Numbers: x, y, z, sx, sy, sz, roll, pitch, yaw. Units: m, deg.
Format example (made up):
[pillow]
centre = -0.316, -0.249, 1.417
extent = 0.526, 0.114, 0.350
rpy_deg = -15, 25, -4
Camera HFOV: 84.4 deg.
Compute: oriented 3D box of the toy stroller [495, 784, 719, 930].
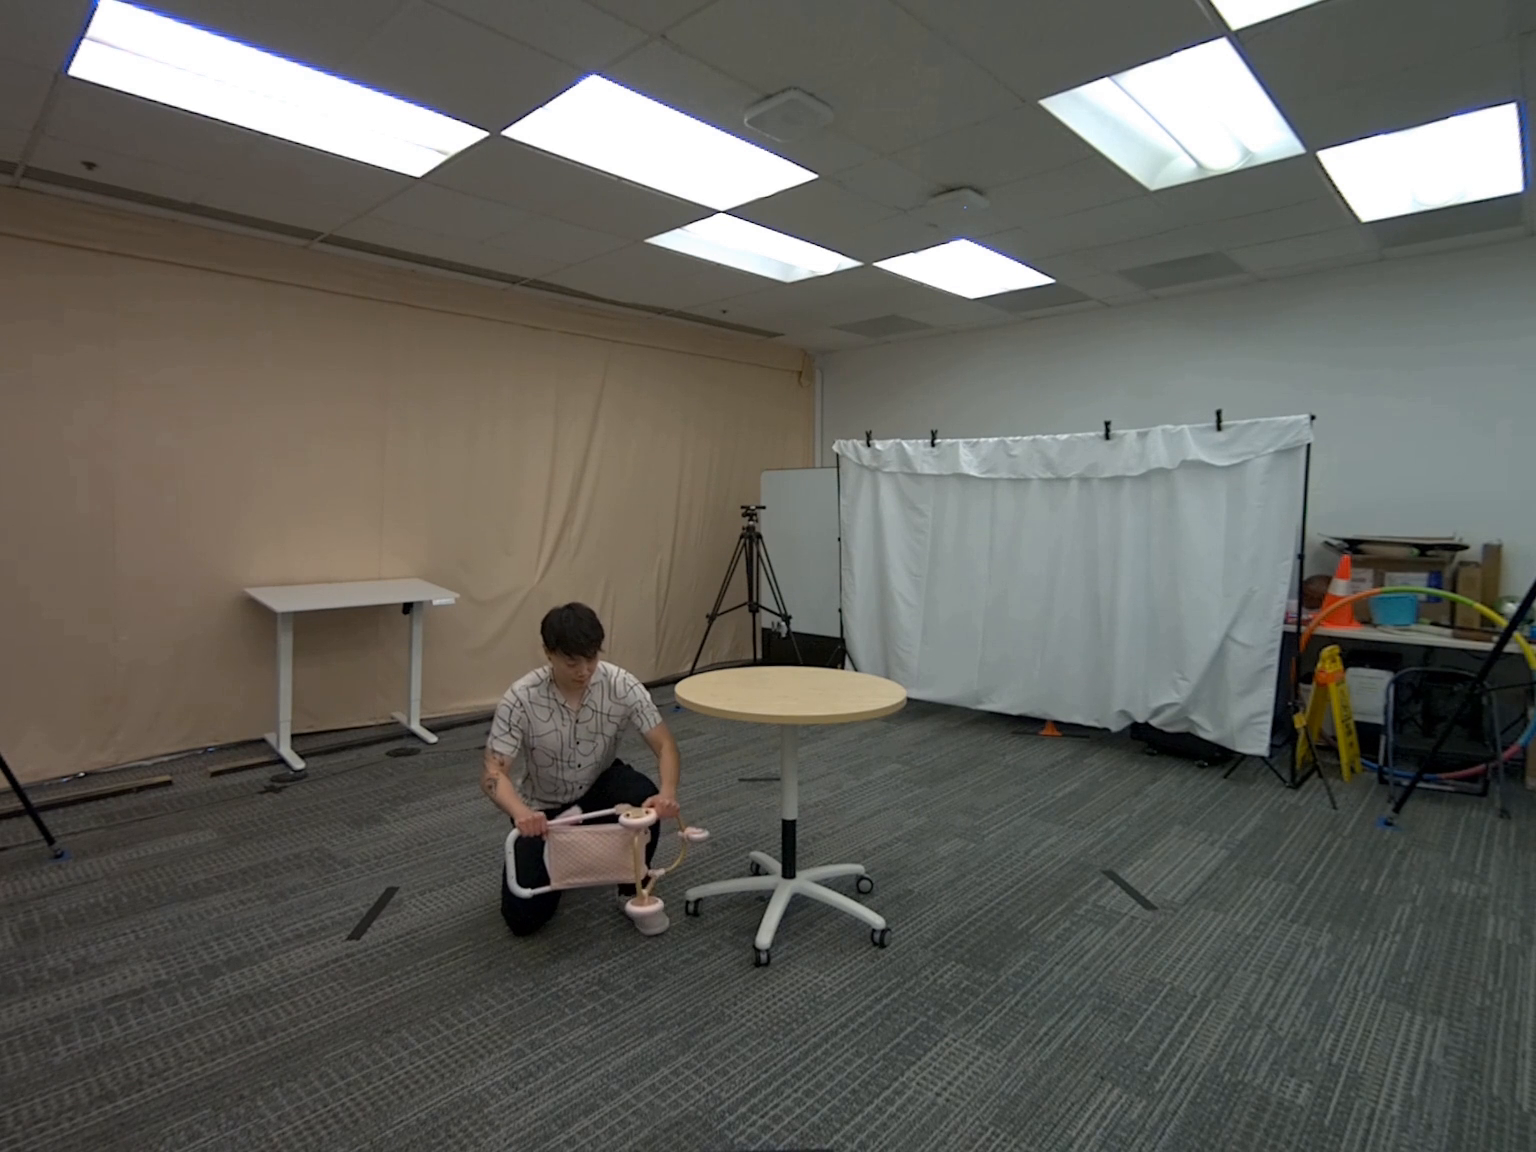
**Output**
[toy stroller]
centre = -0.474, 0.817, 2.534
extent = 0.545, 0.281, 0.335
rpy_deg = -5, 3, 20
